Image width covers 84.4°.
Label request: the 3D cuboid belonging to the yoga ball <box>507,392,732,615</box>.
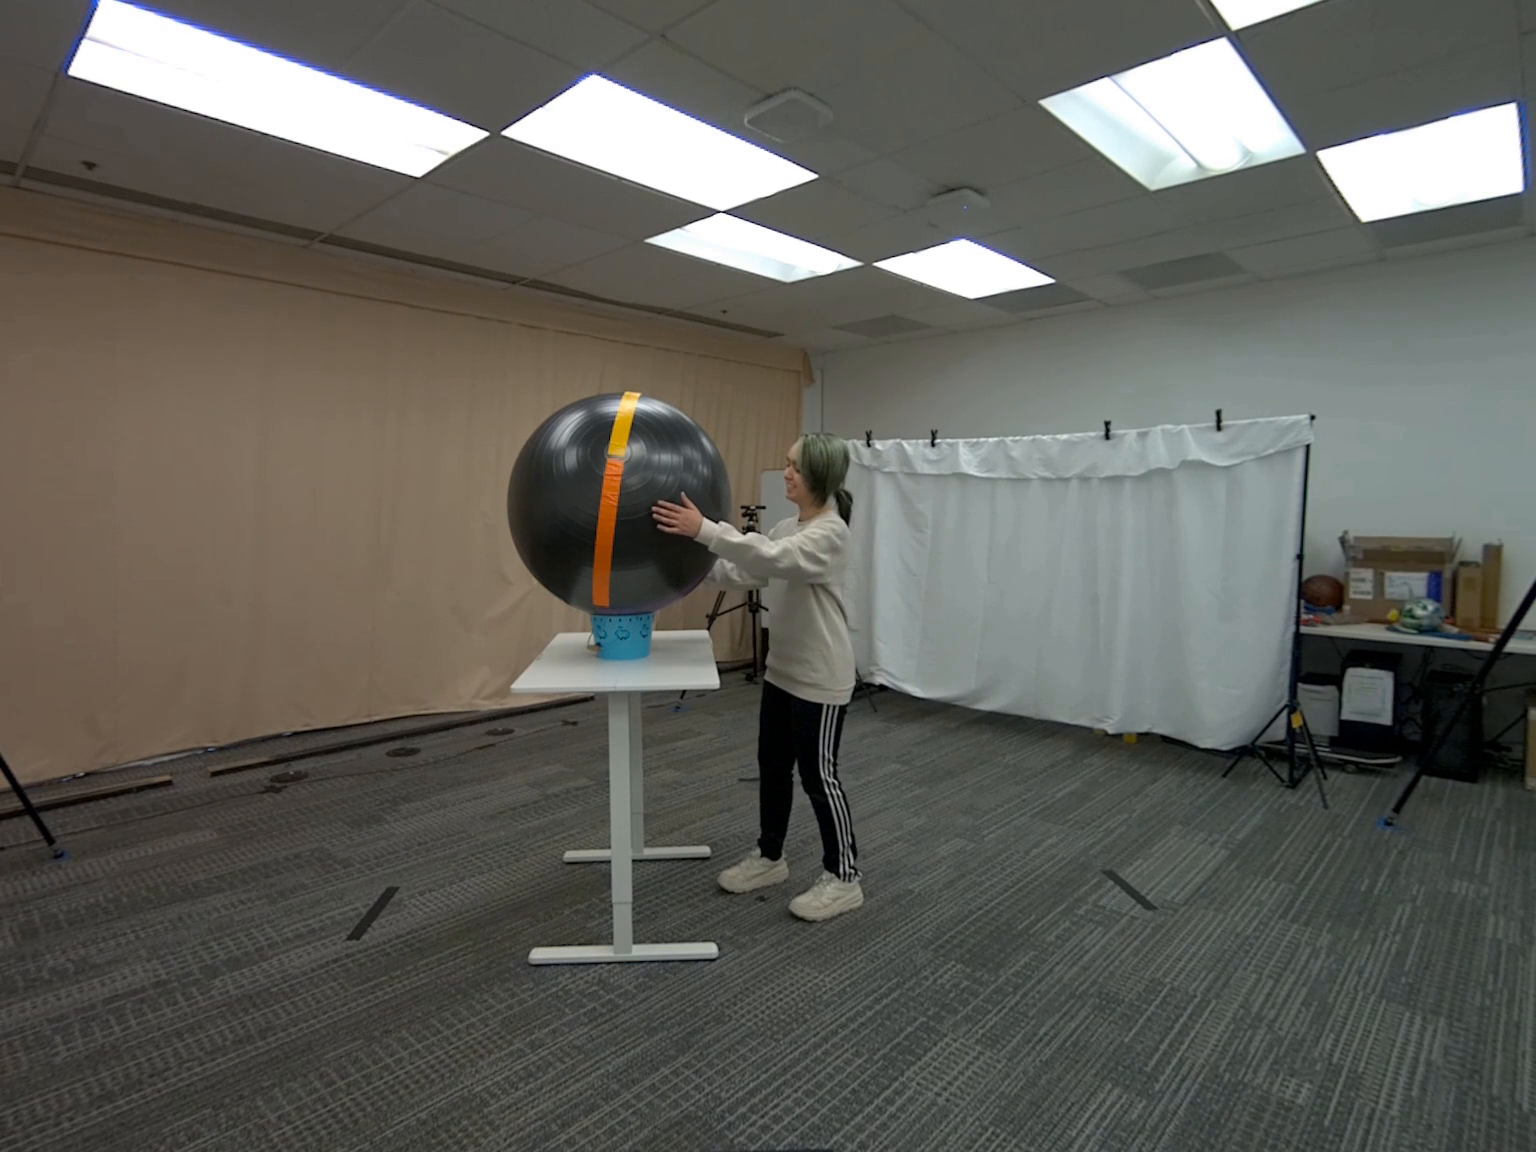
[{"bbox_3d":[-0.501,-0.235,2.861,0.757,0.756,0.760,0,4,-2],"label":"yoga ball"}]
